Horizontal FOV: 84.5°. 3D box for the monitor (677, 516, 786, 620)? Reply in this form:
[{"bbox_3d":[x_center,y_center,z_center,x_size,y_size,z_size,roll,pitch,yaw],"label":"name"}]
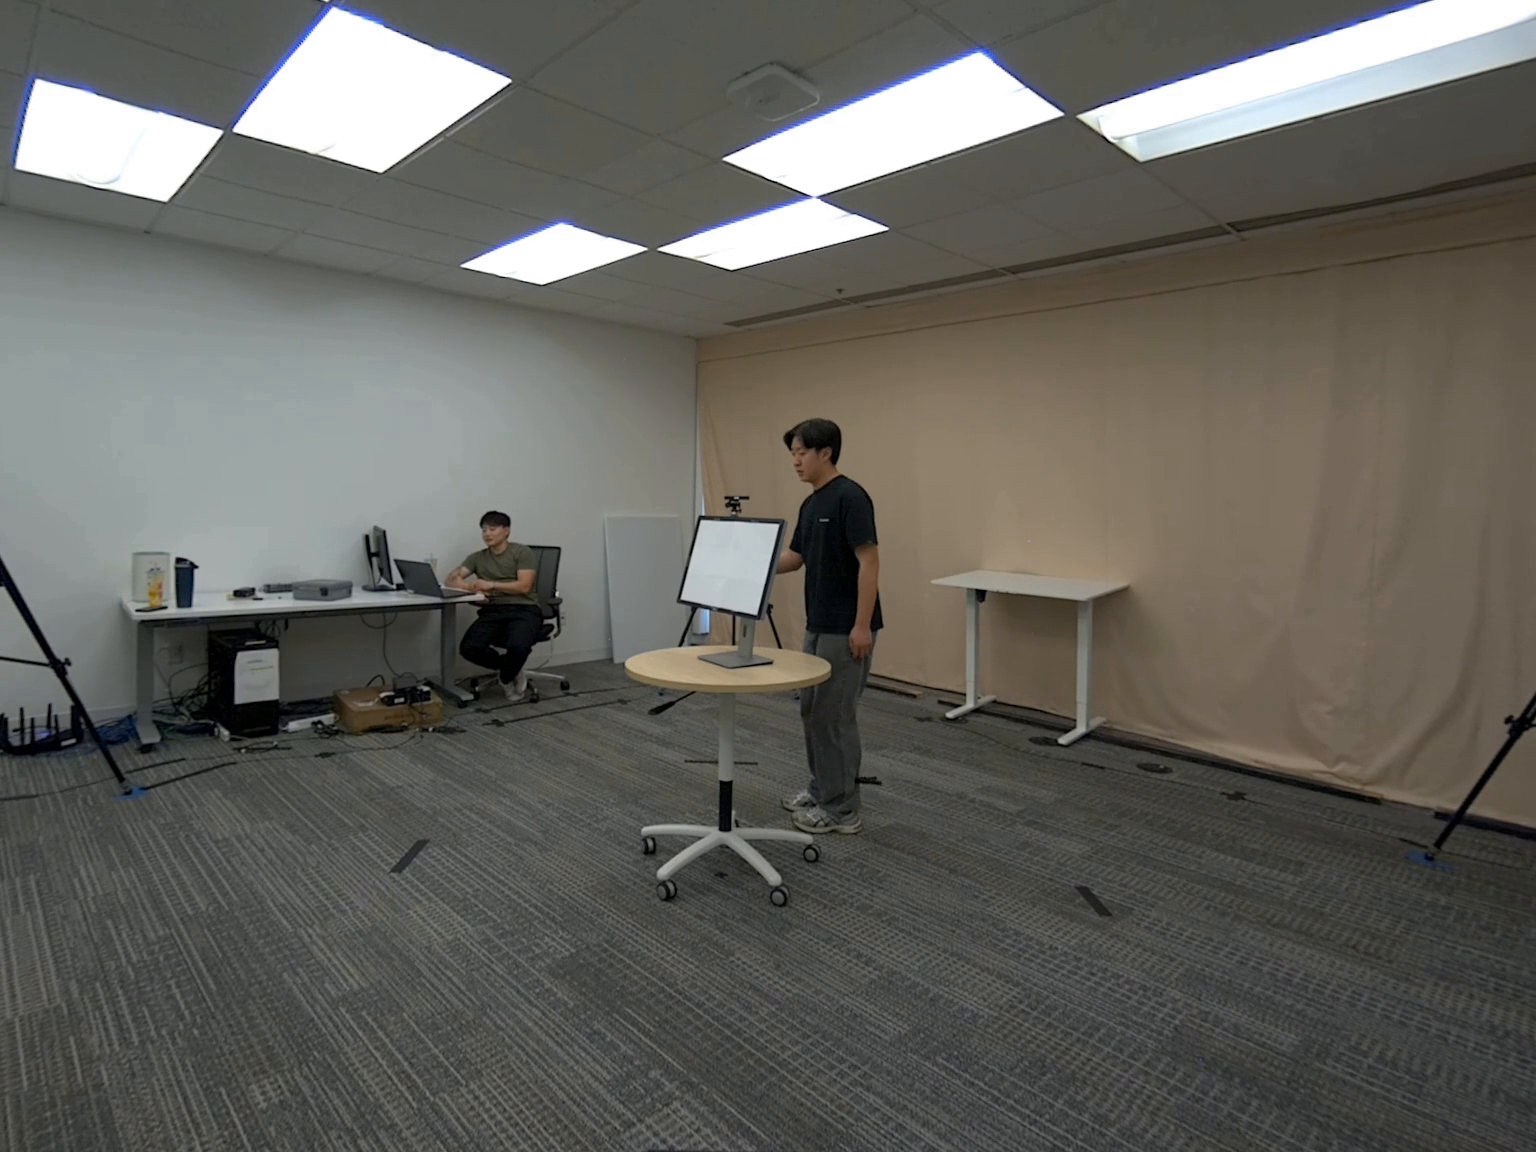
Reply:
[{"bbox_3d":[-0.131,0.061,3.164,0.217,0.564,0.575,-2,4,-33],"label":"monitor"}]
